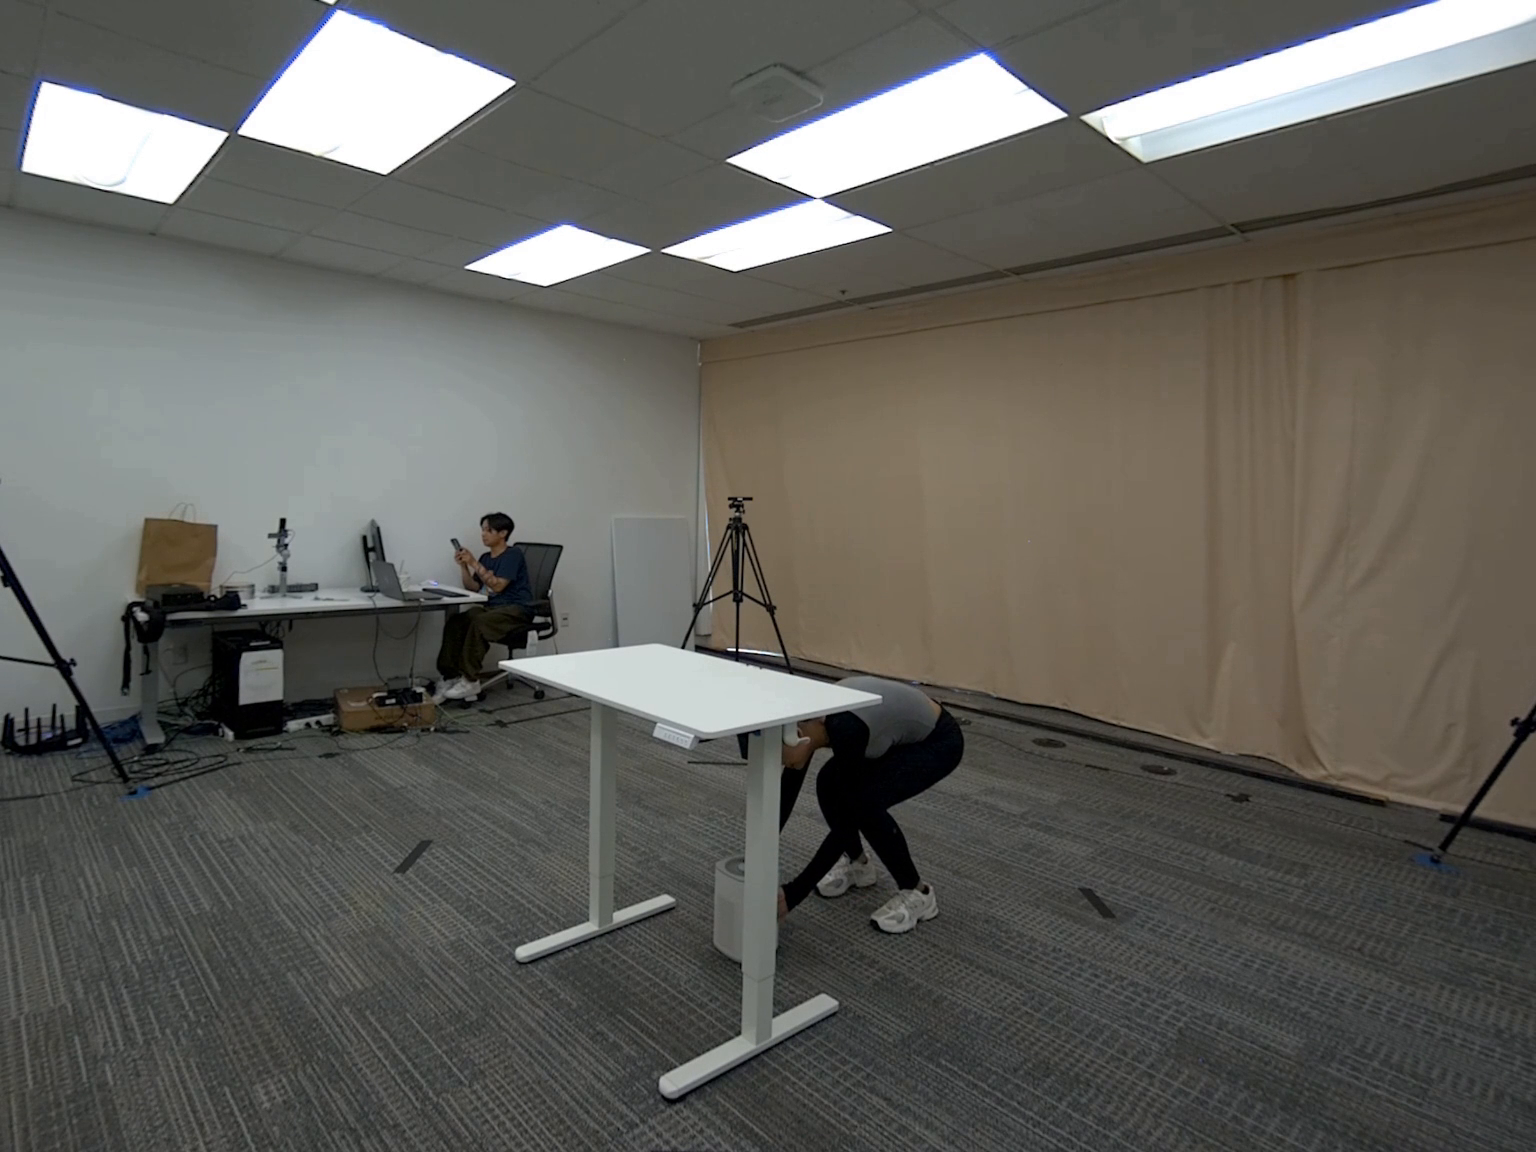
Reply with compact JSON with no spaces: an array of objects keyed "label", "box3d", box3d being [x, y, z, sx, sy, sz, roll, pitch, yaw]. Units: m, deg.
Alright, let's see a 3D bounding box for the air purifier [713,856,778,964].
[{"label":"air purifier","box3d":[-0.071,1.026,2.580,0.176,0.264,0.167,5,8,44]}]
